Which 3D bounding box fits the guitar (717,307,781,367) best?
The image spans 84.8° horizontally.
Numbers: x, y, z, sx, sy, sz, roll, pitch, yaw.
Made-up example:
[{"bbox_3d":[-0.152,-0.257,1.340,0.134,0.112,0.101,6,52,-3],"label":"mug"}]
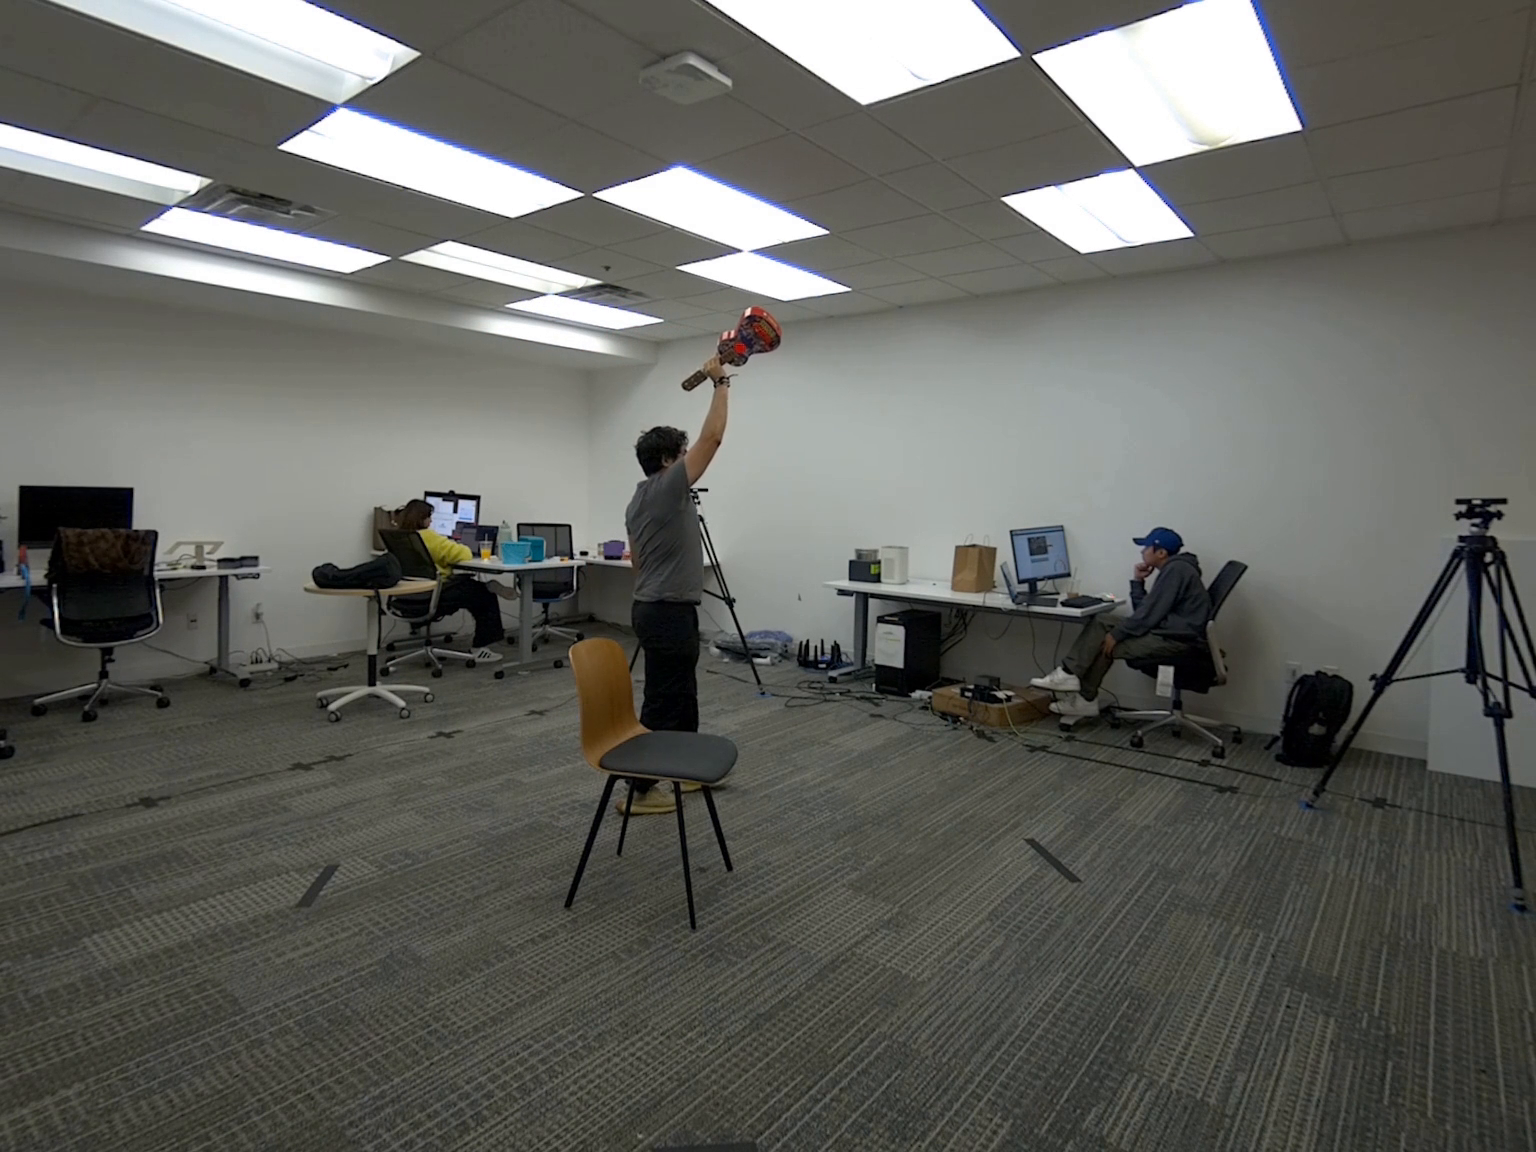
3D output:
[{"bbox_3d":[-0.200,-0.957,3.585,0.505,0.186,0.072,-21,36,26],"label":"guitar"}]
